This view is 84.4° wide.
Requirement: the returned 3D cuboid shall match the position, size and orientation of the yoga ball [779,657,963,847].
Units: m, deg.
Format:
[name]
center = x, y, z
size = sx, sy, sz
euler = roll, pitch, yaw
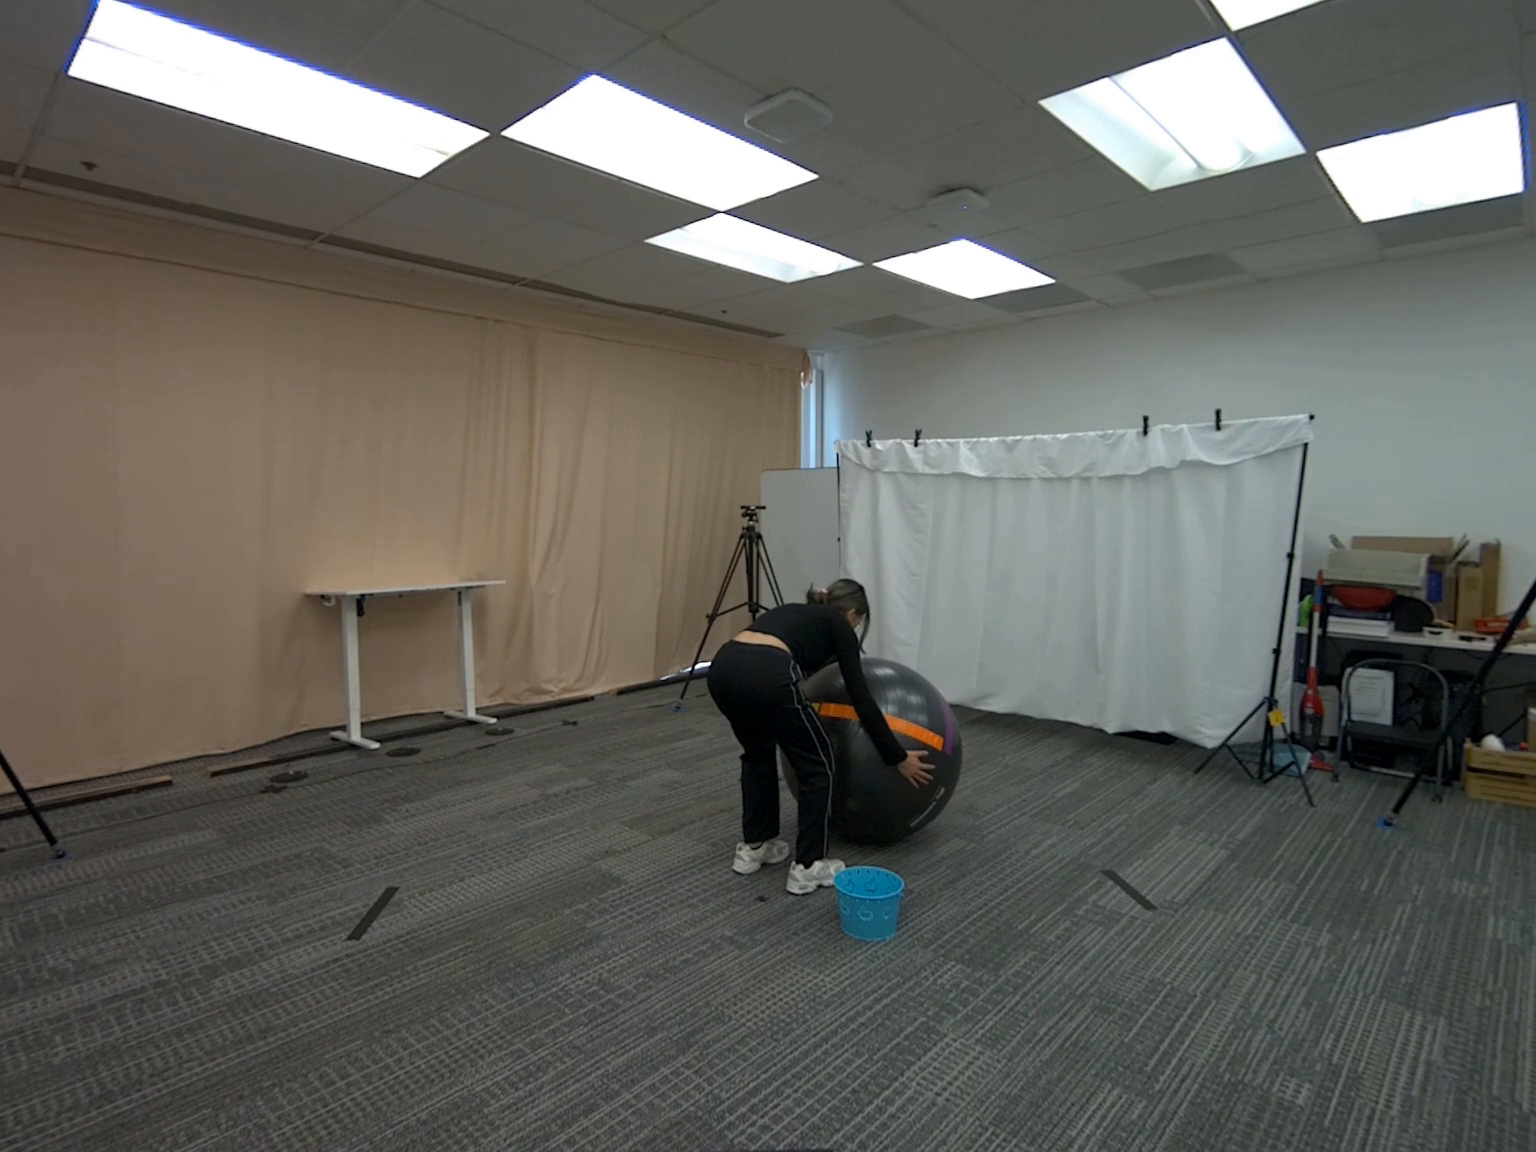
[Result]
[yoga ball]
center = 0.438, 0.731, 3.573
size = 0.757, 0.756, 0.760
euler = 0, 4, -2
